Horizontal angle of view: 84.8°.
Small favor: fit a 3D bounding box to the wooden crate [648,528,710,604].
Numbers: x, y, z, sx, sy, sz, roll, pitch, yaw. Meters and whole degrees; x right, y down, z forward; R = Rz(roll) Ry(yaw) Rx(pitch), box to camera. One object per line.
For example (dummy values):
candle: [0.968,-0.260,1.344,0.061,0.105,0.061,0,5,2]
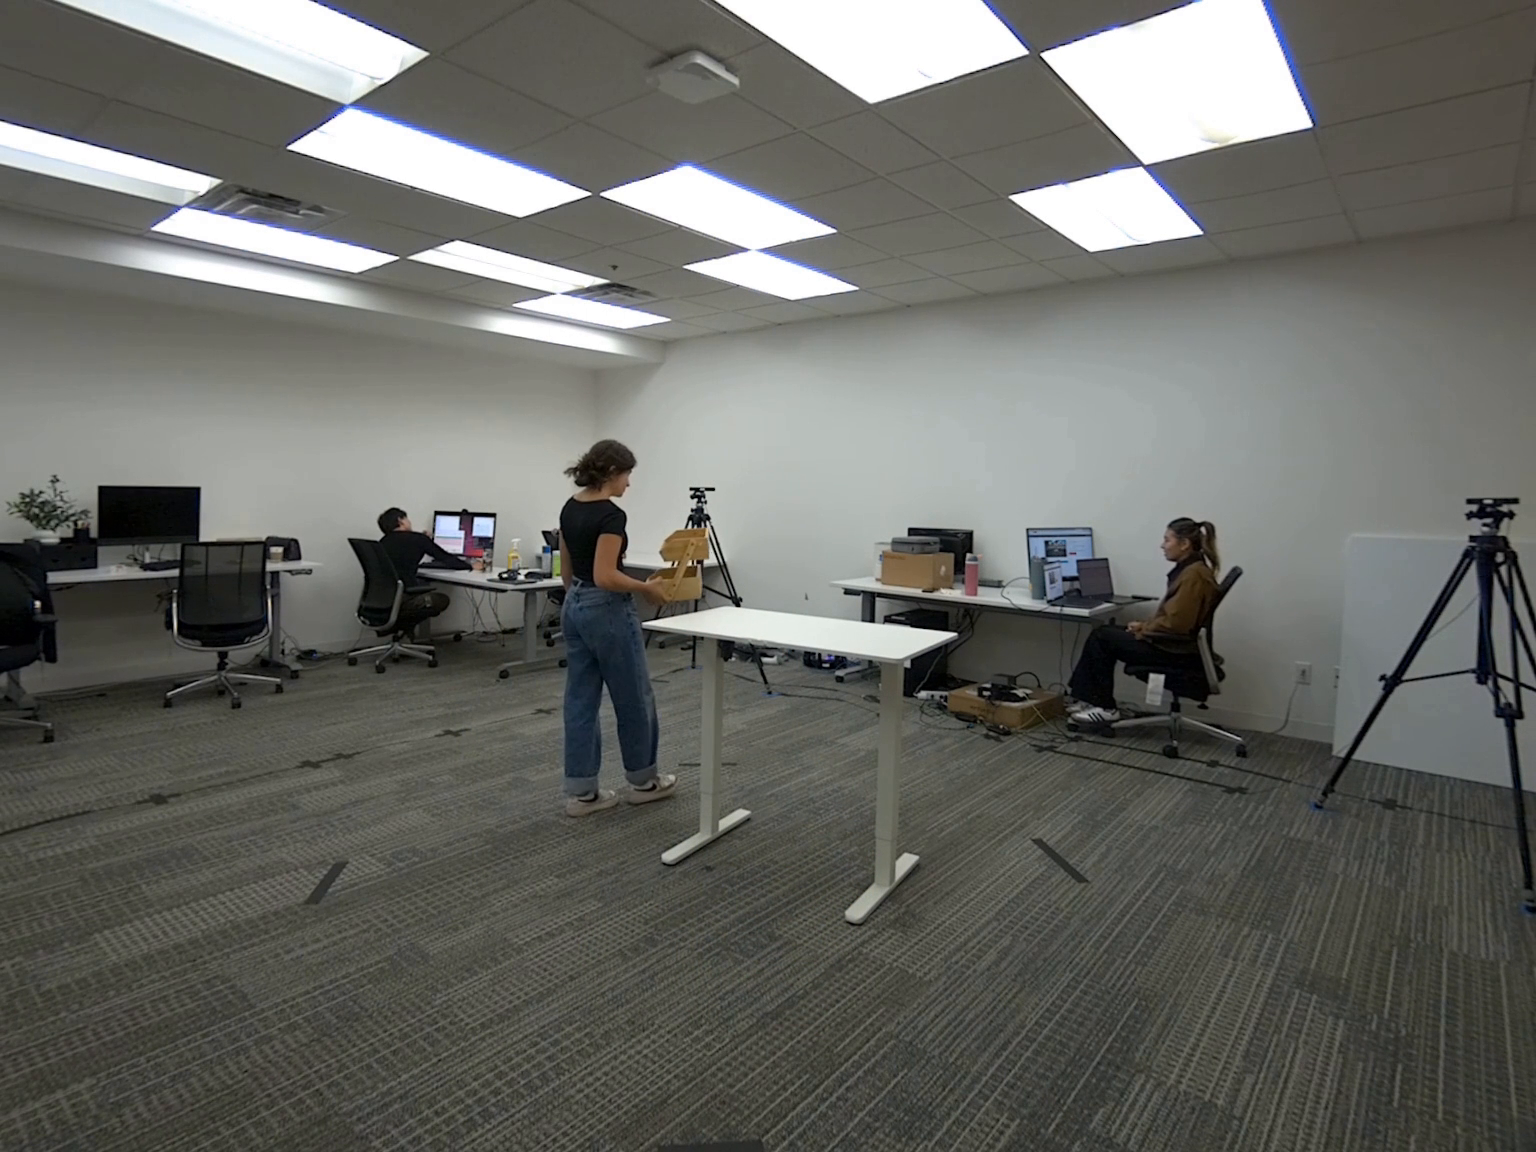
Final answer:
wooden crate: [-0.427,-0.058,3.755,0.302,0.270,0.327,-2,11,1]
